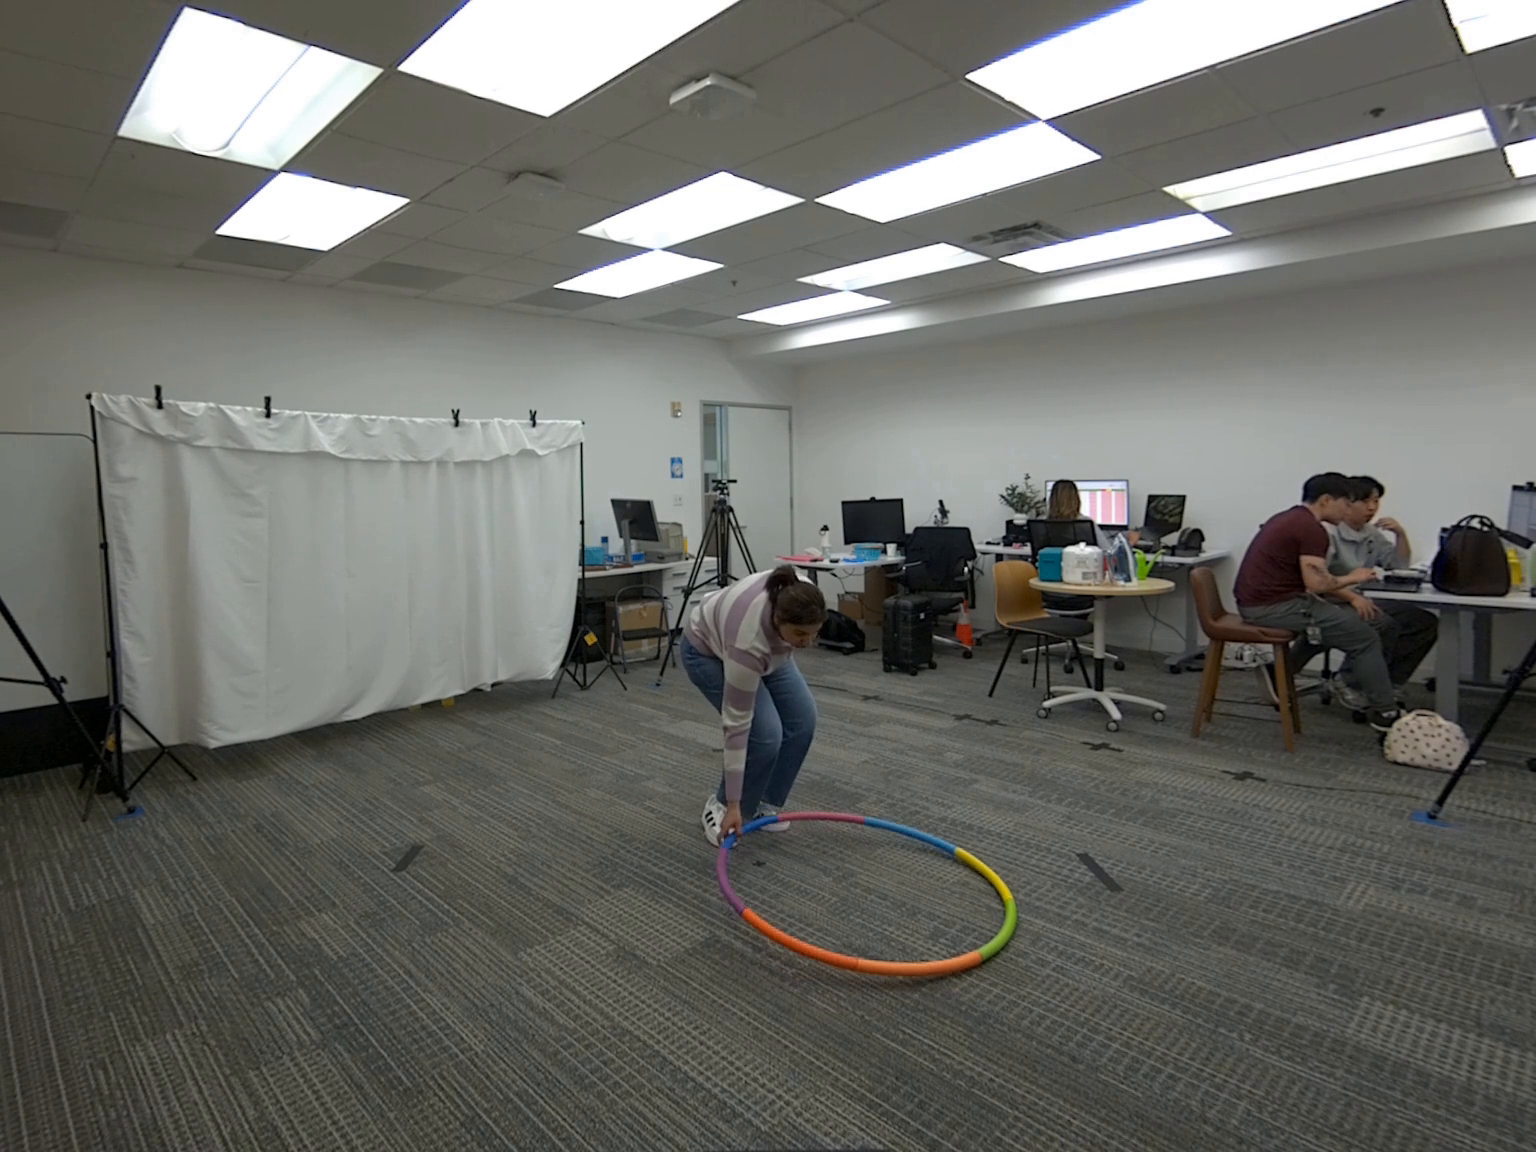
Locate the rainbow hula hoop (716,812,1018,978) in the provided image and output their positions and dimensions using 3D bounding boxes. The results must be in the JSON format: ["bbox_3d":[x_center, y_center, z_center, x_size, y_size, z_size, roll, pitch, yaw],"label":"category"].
[{"bbox_3d":[0.315,1.000,2.830,0.984,0.051,0.993,5,8,-2],"label":"rainbow hula hoop"}]
